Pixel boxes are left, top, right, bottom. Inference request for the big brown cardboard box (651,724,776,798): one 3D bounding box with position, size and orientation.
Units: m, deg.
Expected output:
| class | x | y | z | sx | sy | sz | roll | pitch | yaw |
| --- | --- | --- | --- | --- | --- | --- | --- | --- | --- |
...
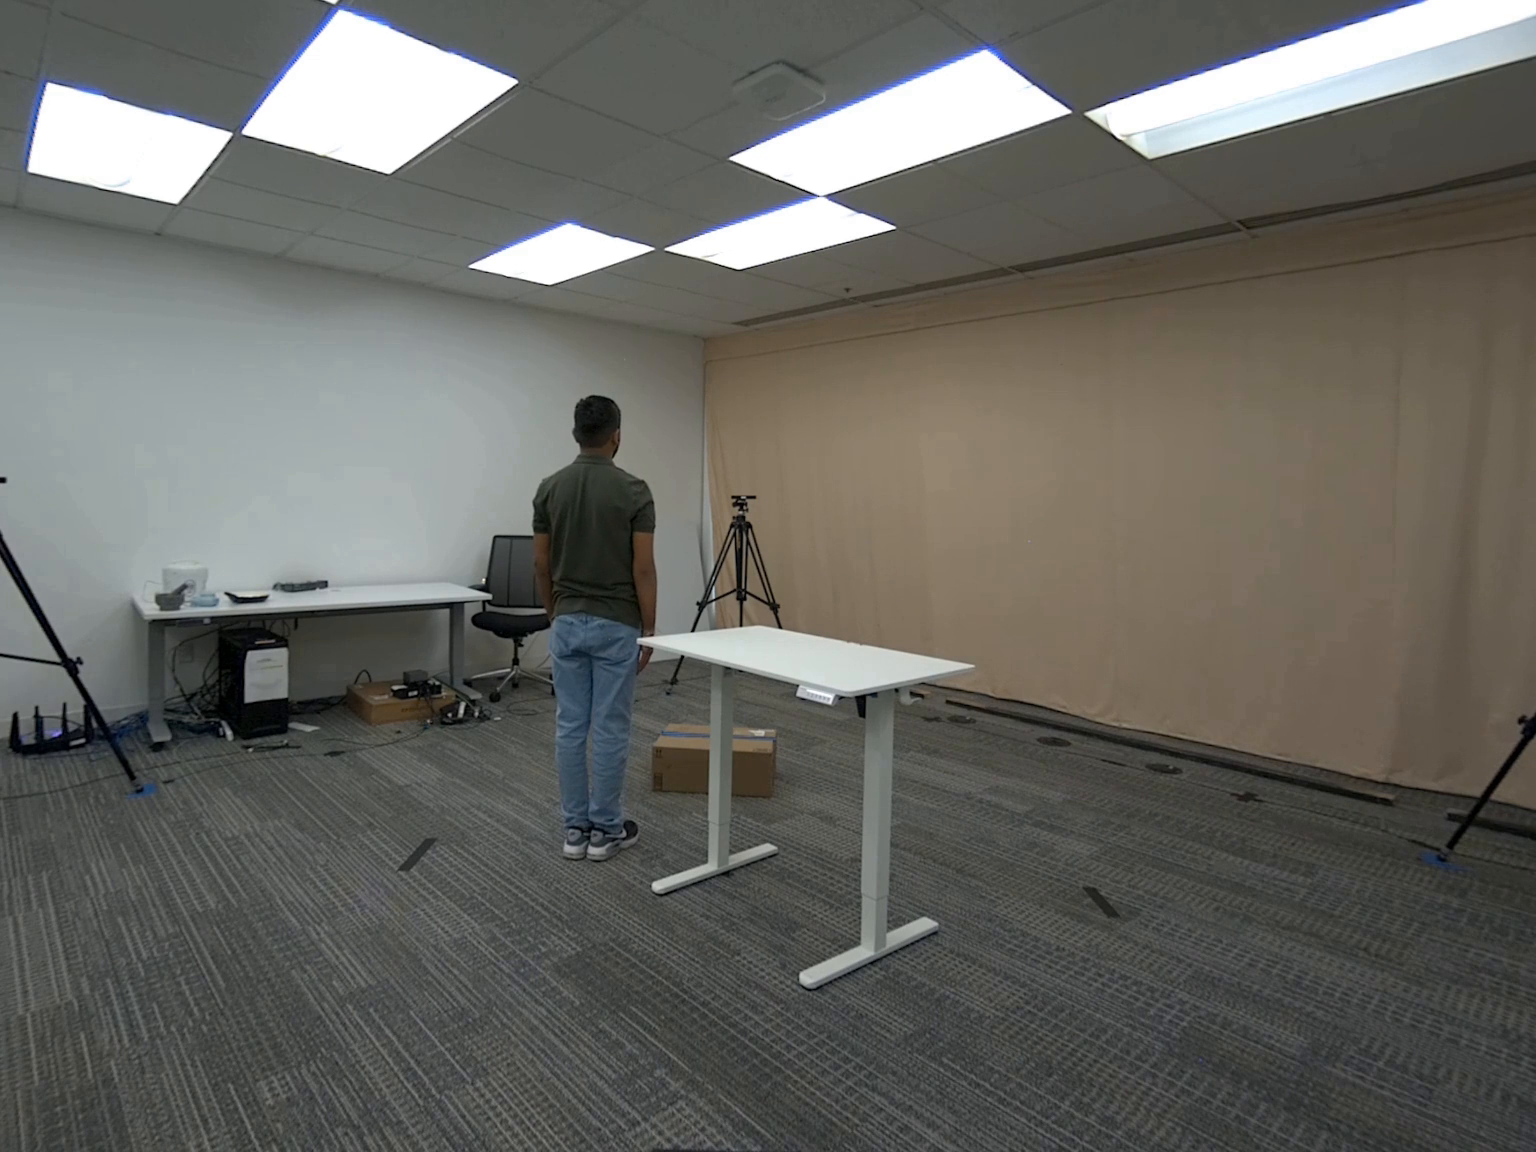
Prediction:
| class | x | y | z | sx | sy | sz | roll | pitch | yaw |
| --- | --- | --- | --- | --- | --- | --- | --- | --- | --- |
| big brown cardboard box | -0.252 | 0.890 | 4.136 | 0.591 | 0.232 | 0.417 | 1 | 4 | 4 |
